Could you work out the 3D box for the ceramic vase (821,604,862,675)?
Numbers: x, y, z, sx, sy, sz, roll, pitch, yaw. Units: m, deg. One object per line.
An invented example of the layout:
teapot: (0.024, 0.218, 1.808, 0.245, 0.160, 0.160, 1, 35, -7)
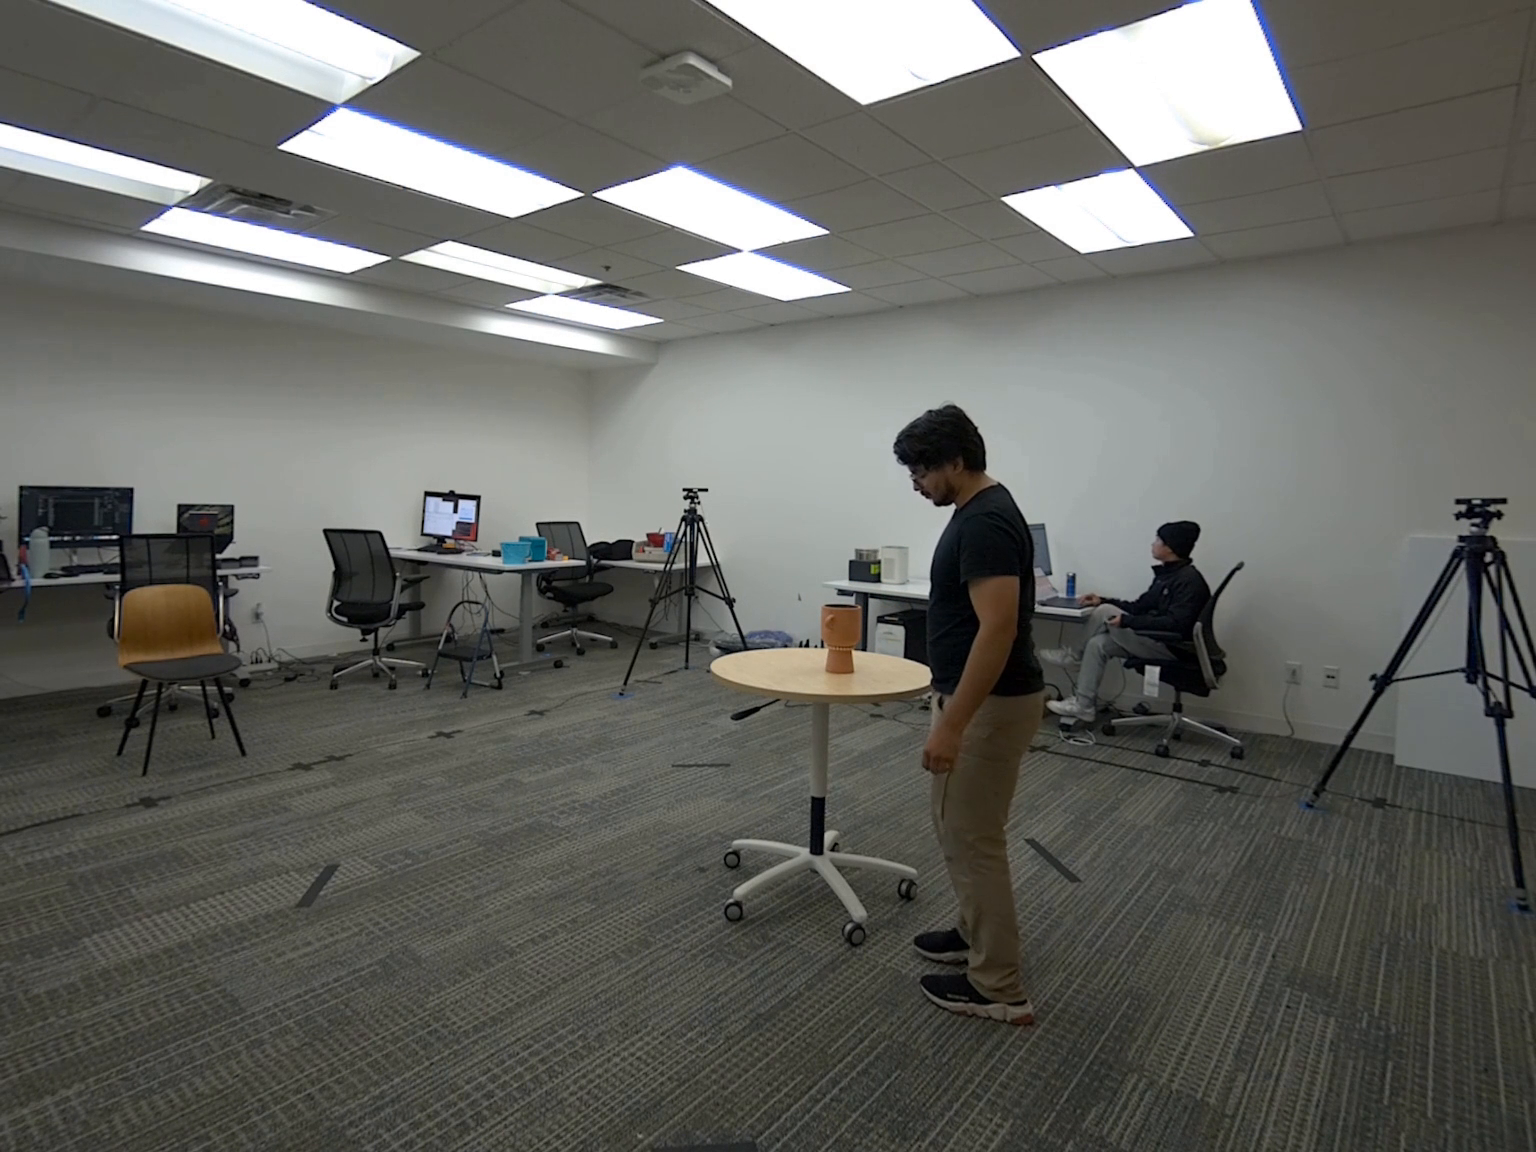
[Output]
ceramic vase: (0.241, 0.211, 2.874, 0.156, 0.219, 0.137, 0, 5, -16)
